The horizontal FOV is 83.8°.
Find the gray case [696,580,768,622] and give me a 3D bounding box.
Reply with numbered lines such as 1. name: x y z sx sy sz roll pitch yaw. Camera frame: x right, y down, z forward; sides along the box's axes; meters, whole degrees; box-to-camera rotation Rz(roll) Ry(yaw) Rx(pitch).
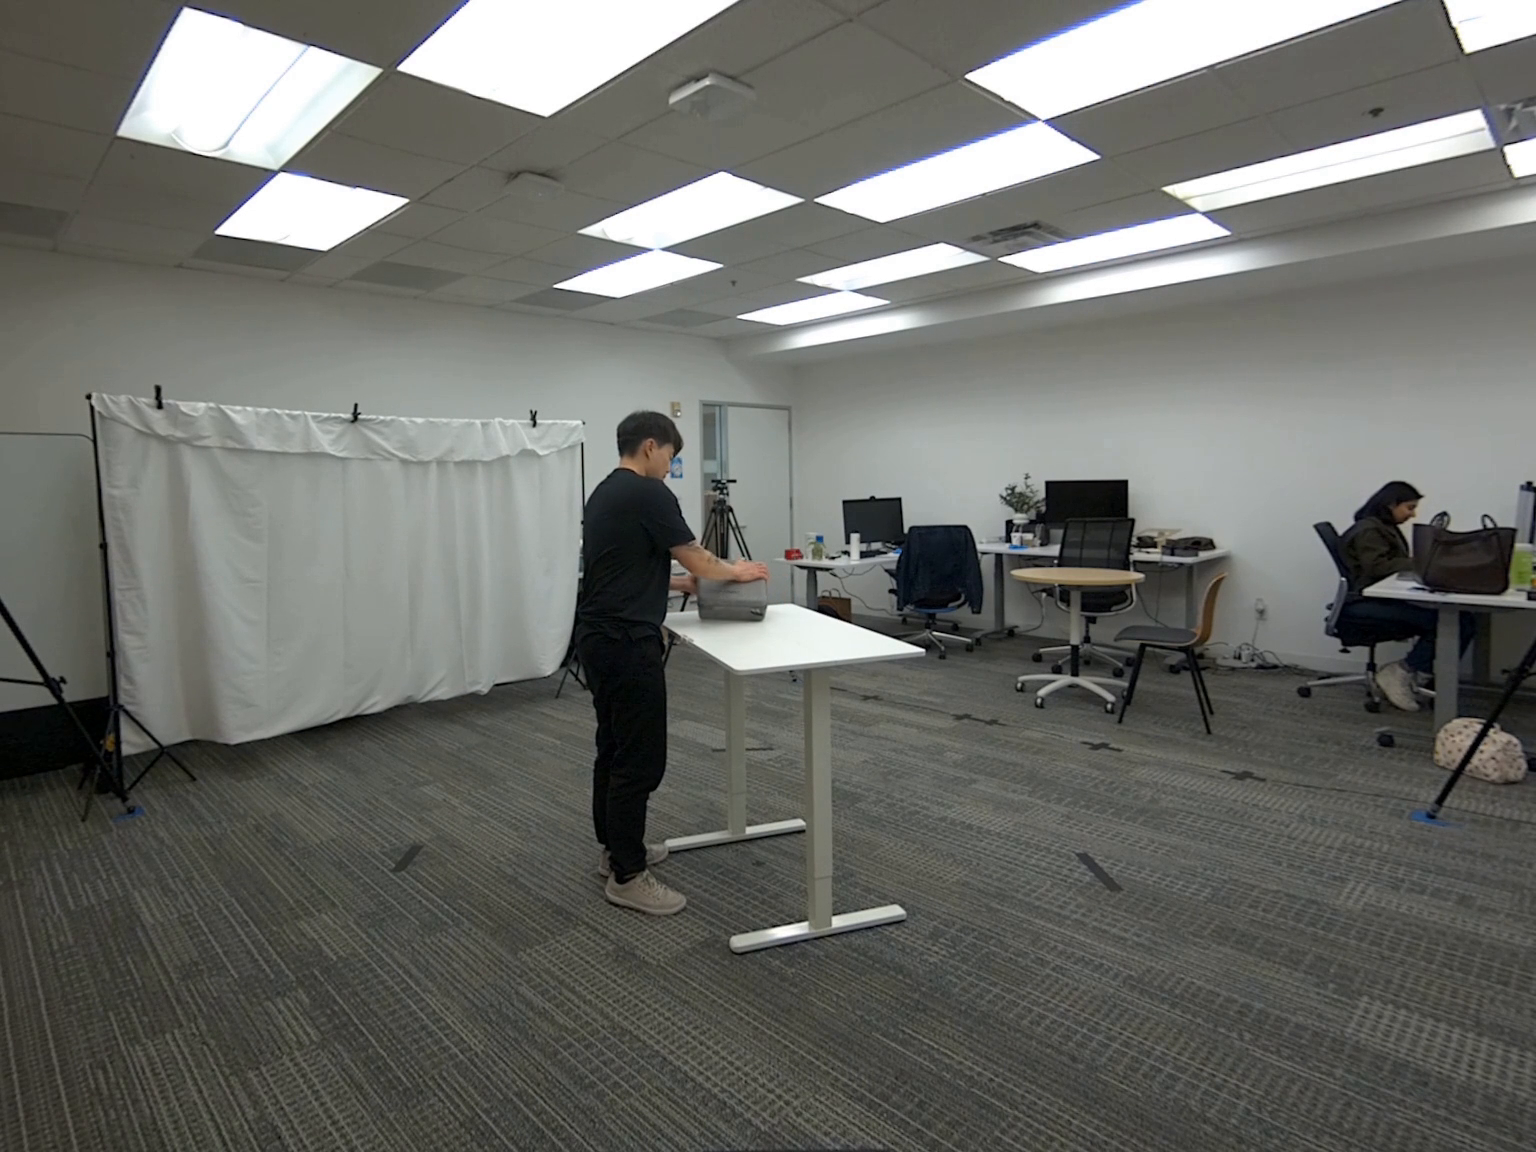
1. gray case: -0.140 0.054 3.163 0.256 0.102 0.267 0 35 -2
